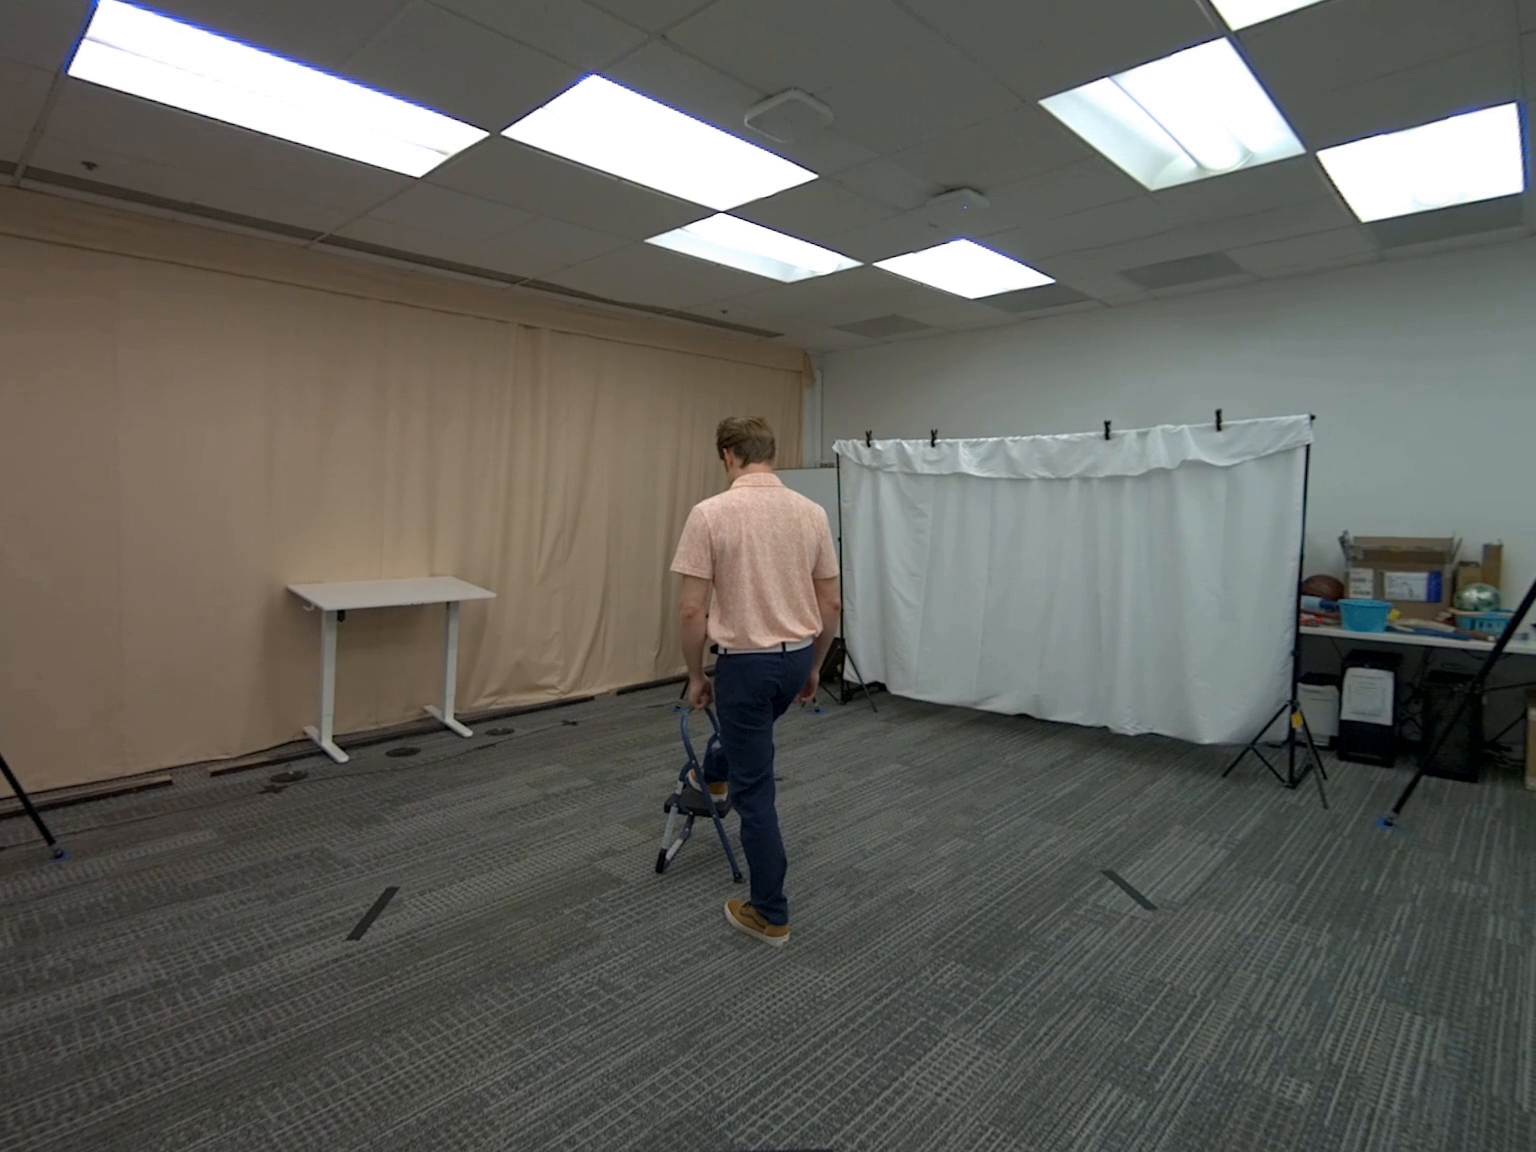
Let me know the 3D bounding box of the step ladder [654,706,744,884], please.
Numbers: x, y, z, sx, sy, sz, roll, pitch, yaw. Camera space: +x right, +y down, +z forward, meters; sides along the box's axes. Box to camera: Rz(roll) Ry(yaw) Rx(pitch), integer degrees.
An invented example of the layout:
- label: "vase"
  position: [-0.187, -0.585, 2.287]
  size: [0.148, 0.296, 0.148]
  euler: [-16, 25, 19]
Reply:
- label: "step ladder"
  position: [-0.228, 0.816, 3.337]
  size: [0.354, 0.605, 0.426]
  euler: [0, 3, 11]
